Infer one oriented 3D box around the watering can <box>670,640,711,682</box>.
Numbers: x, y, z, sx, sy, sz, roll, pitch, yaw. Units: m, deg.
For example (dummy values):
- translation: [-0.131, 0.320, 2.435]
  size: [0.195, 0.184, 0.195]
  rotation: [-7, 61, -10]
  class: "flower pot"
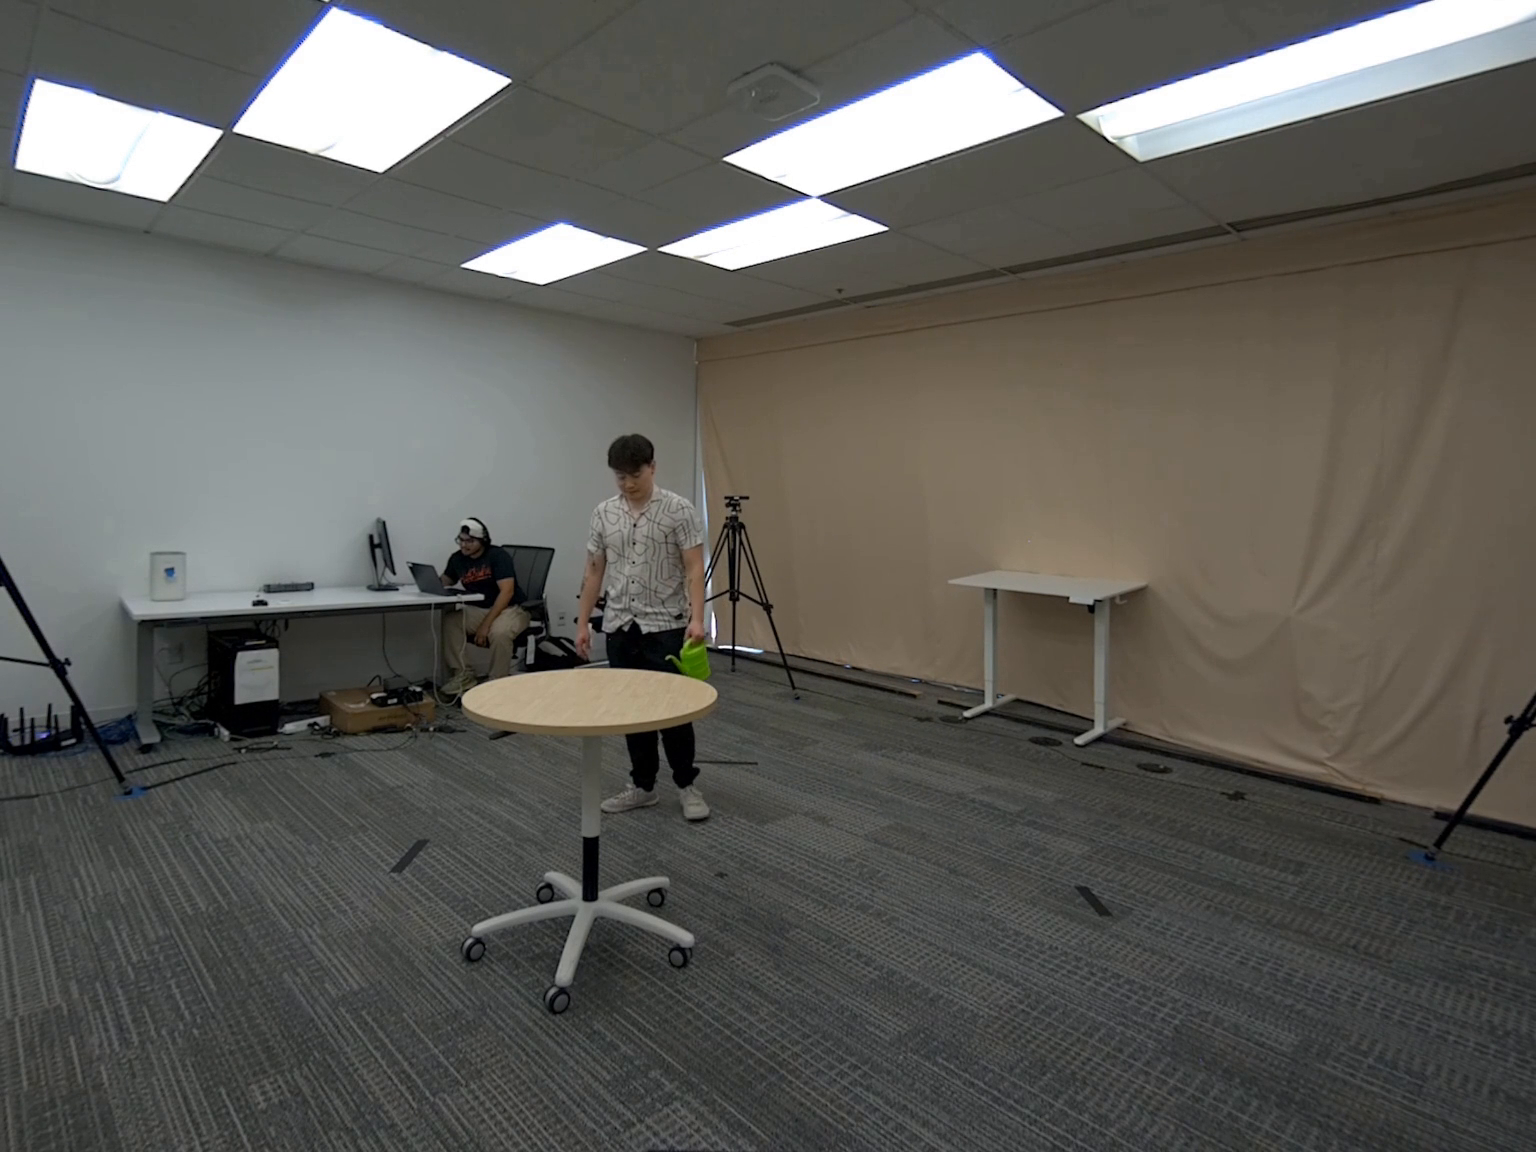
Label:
- translation: [-0.346, 0.353, 3.448]
  size: [0.100, 0.175, 0.274]
  rotation: [3, 19, 44]
  class: "watering can"
